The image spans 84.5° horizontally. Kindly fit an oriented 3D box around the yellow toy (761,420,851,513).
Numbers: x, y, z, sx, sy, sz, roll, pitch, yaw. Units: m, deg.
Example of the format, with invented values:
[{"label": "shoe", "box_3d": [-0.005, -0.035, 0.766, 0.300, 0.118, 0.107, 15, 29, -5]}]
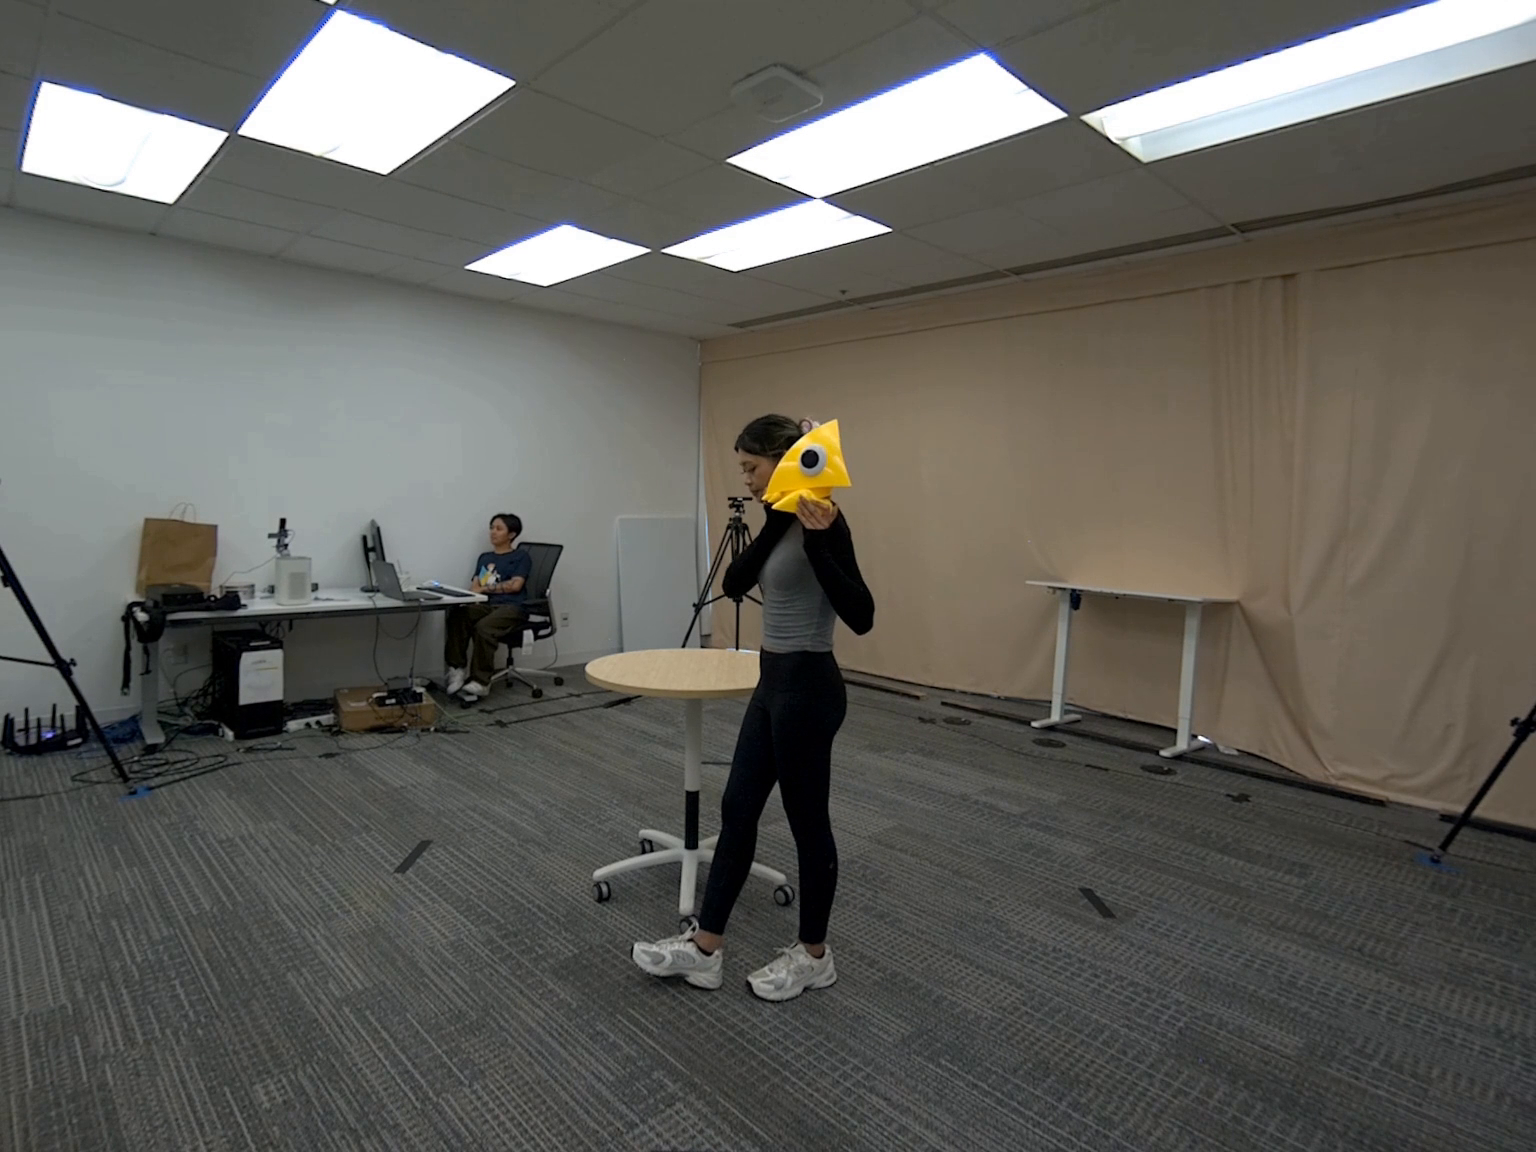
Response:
[{"label": "yellow toy", "box_3d": [0.087, -0.287, 2.117, 0.191, 0.229, 0.209, 5, 13, -14]}]
